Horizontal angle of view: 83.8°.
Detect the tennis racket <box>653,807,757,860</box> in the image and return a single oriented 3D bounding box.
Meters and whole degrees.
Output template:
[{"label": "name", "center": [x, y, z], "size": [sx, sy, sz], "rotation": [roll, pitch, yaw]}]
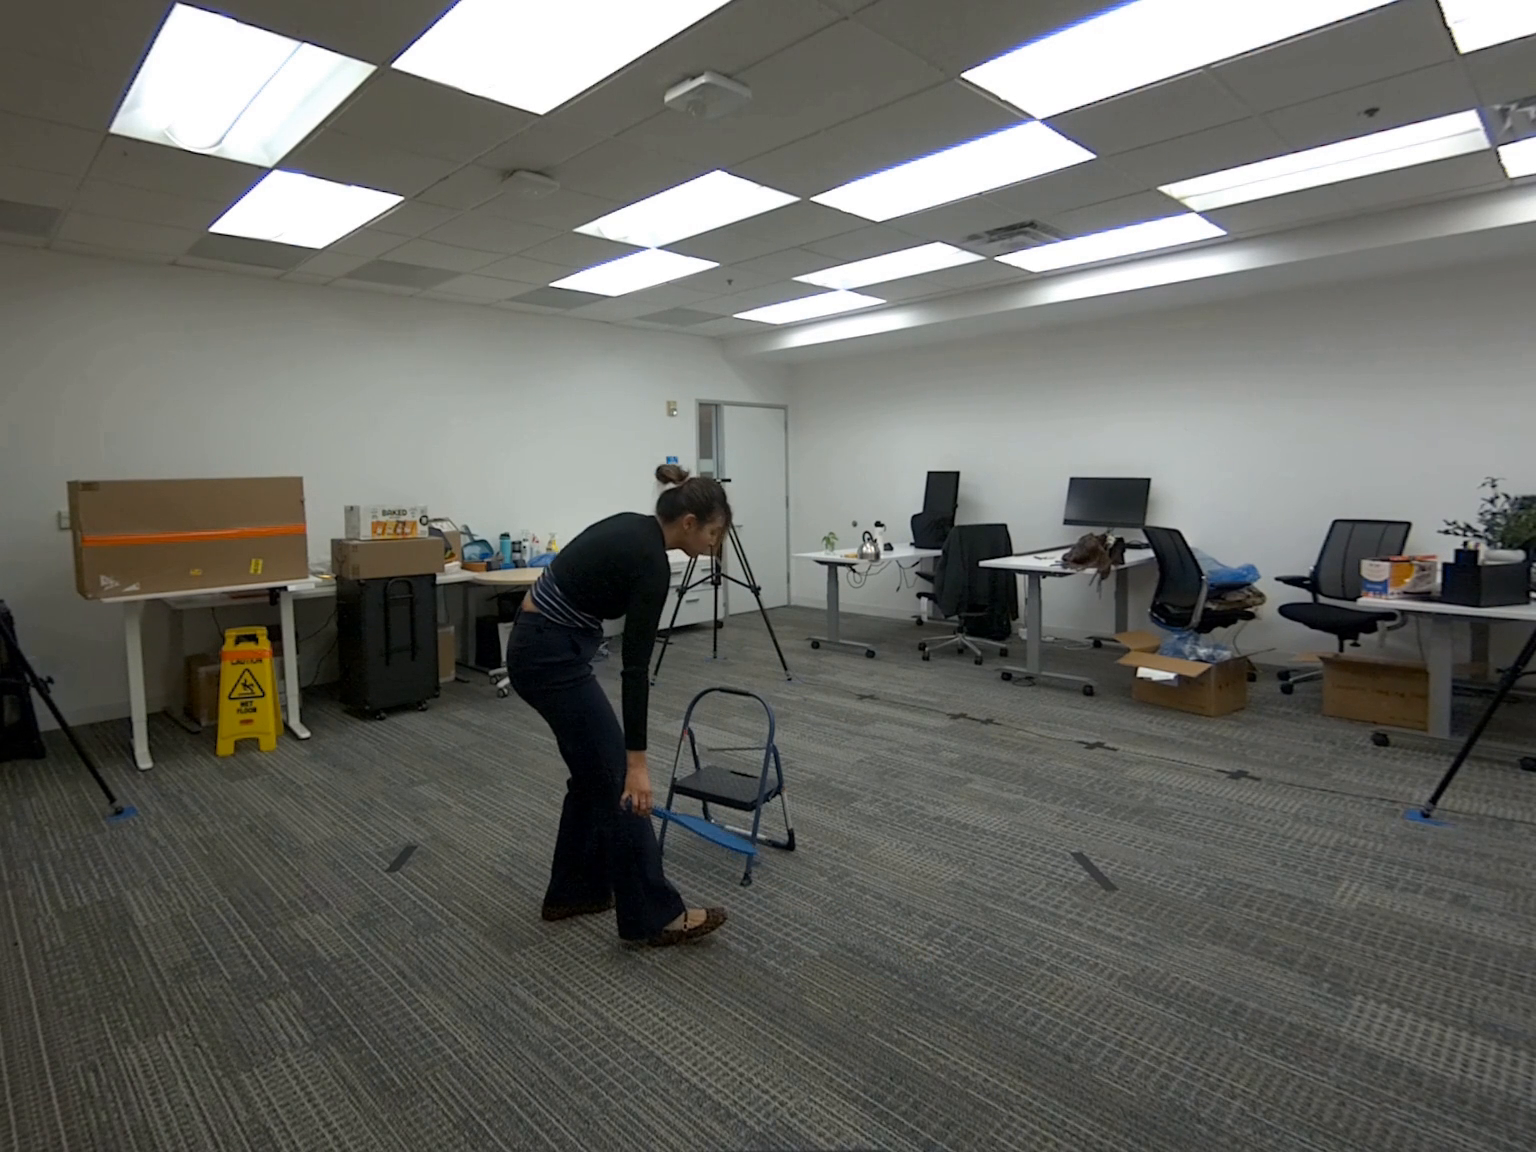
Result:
[{"label": "tennis racket", "center": [-0.210, 0.708, 2.498], "size": [0.425, 0.032, 0.217], "rotation": [25, -5, -14]}]
